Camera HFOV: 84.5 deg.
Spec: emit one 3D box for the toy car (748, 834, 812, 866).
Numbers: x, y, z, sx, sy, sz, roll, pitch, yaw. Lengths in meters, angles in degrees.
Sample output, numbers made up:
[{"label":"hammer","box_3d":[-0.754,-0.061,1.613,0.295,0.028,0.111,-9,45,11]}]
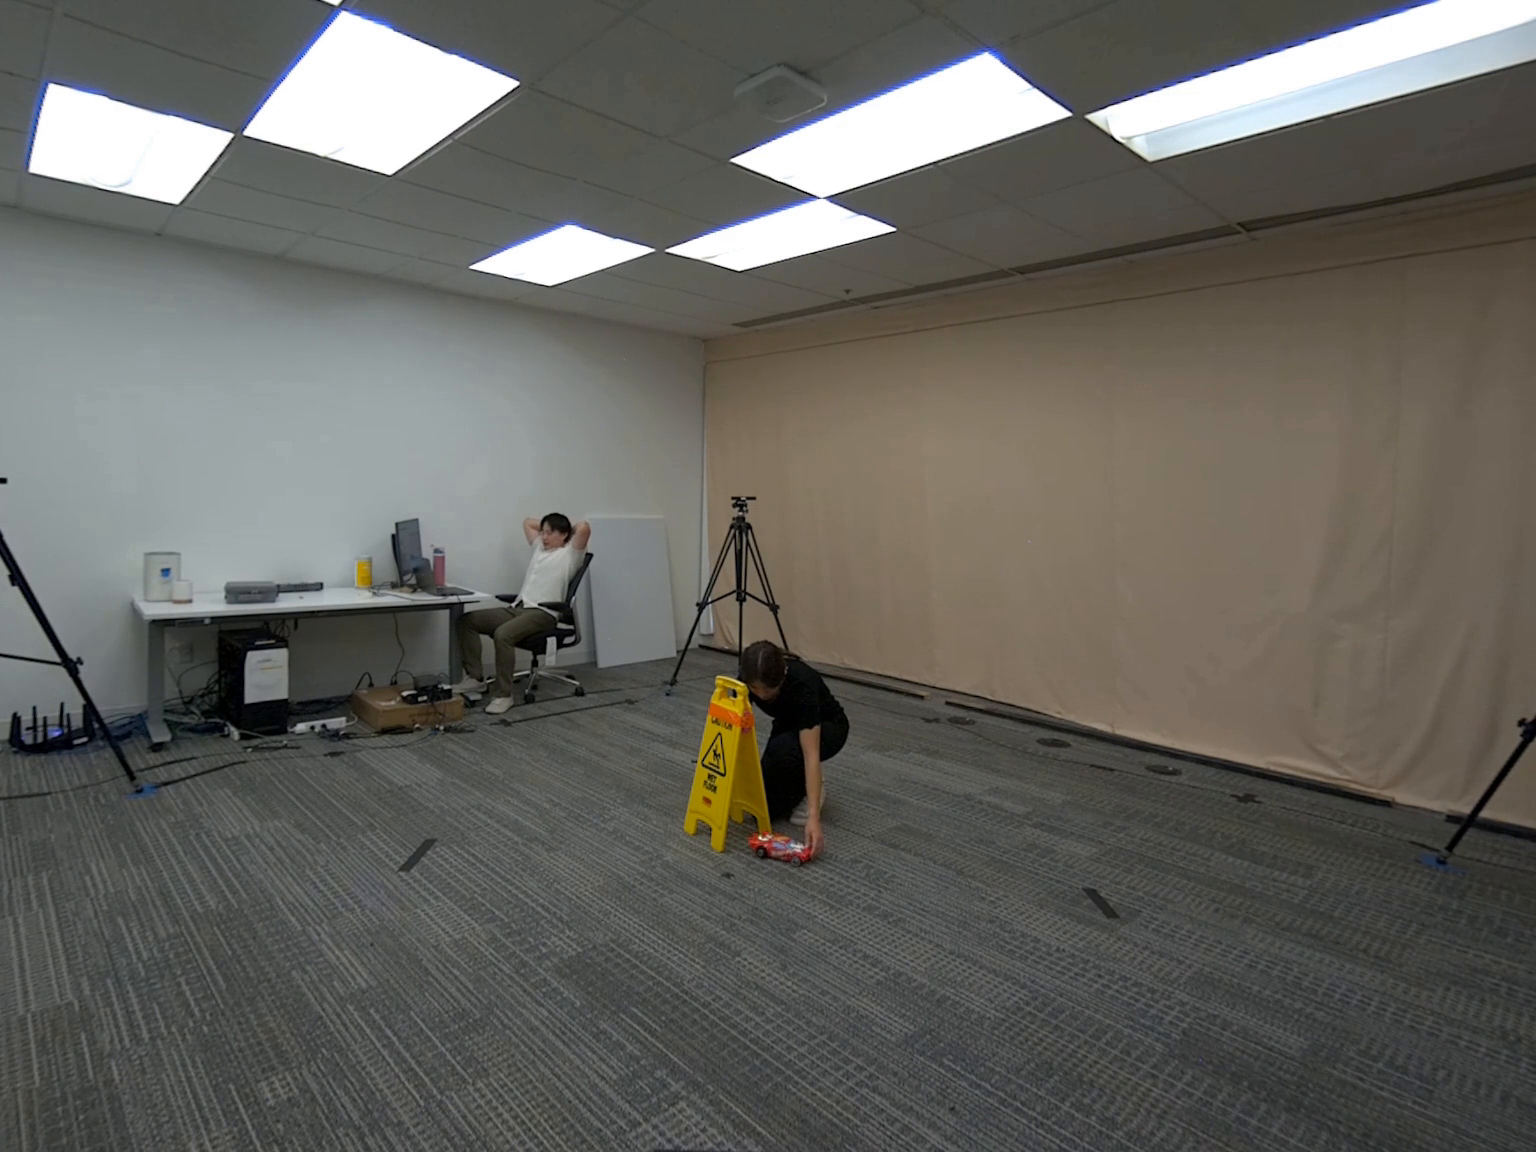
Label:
[{"label":"toy car","box_3d":[0.035,1.061,3.286,0.260,0.083,0.128,15,9,26]}]
